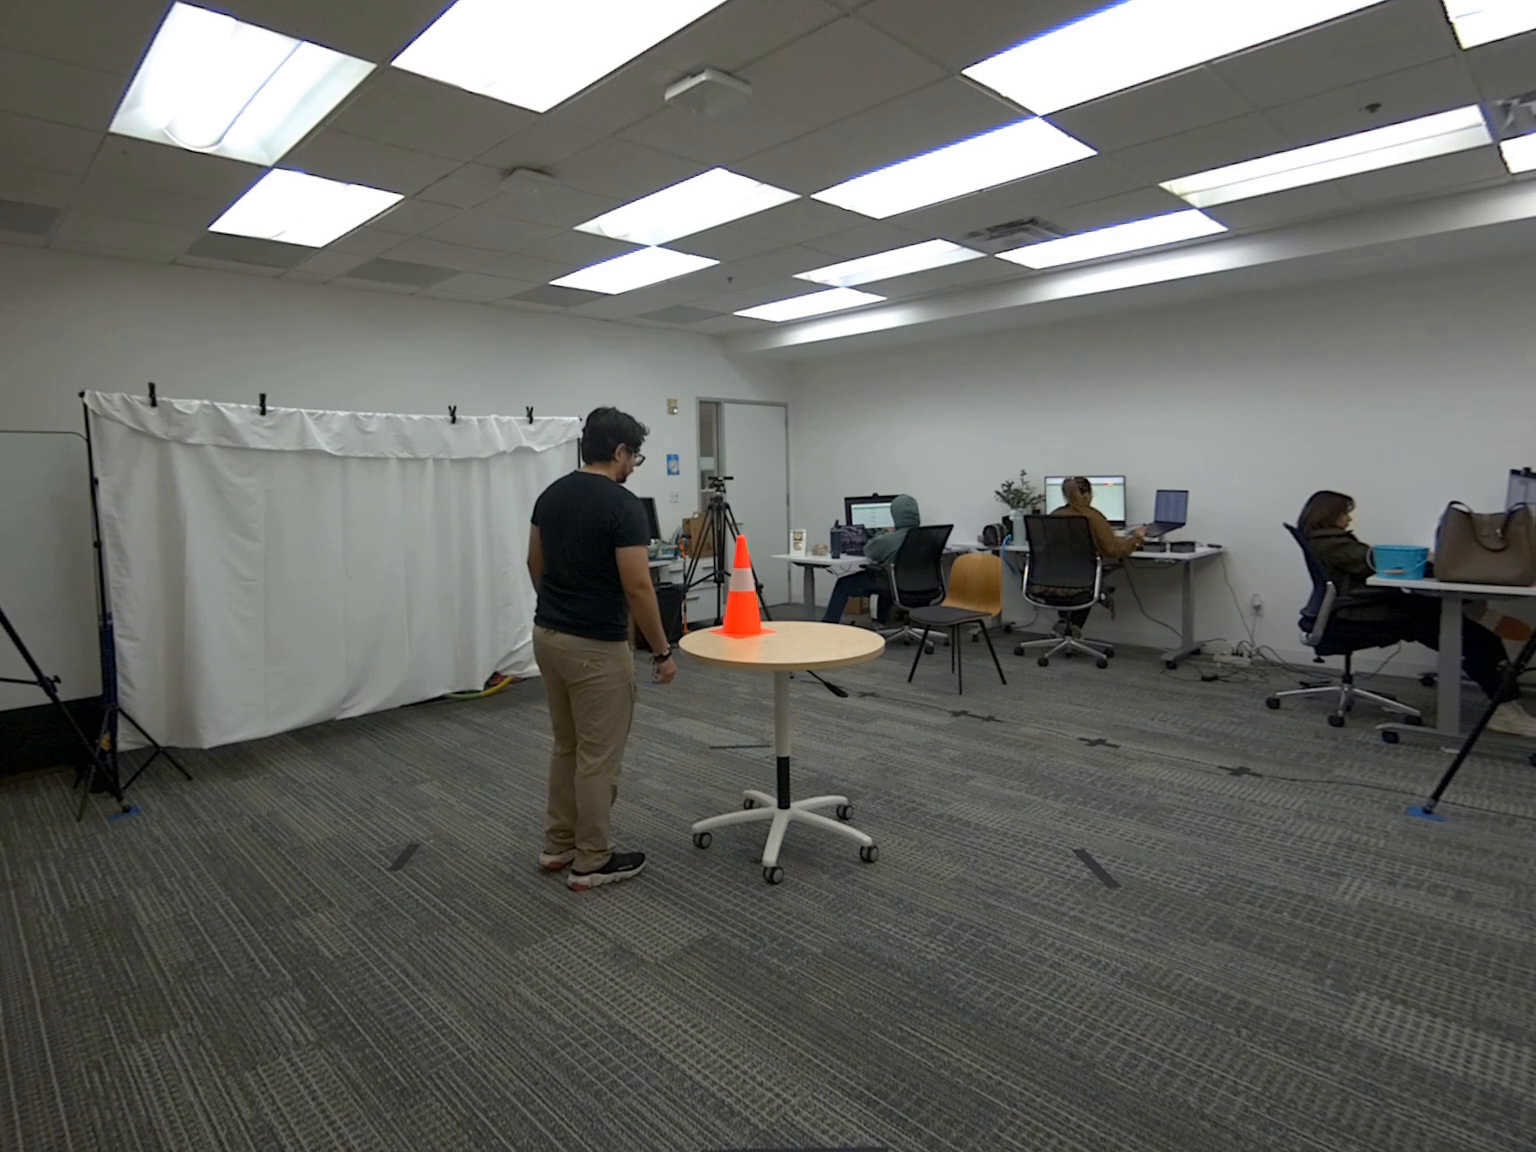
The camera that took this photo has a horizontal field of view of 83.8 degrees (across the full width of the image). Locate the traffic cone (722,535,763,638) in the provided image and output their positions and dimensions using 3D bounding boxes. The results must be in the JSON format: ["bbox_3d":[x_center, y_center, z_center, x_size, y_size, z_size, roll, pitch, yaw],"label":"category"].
[{"bbox_3d":[-0.107,0.035,3.360,0.209,0.382,0.200,3,6,35],"label":"traffic cone"}]
